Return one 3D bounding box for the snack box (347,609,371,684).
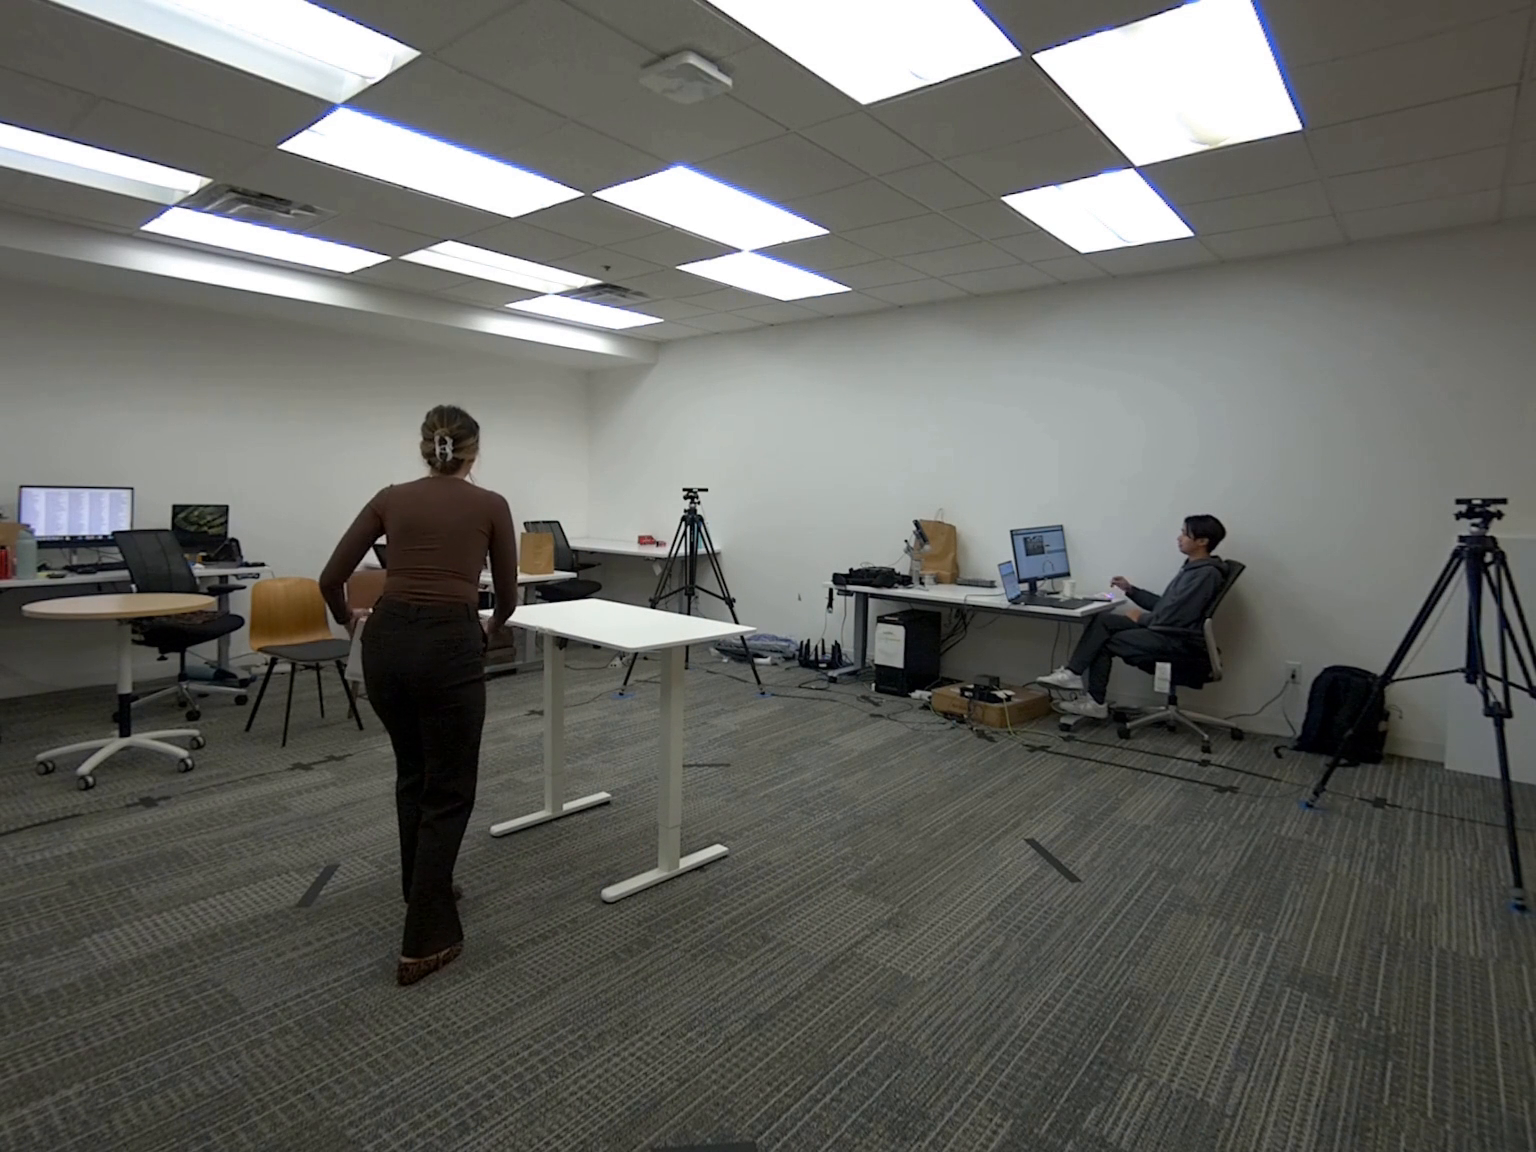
[{"bbox_3d":[-1.244,0.268,3.011,0.397,0.206,0.347,12,-1,-18],"label":"snack box"}]
